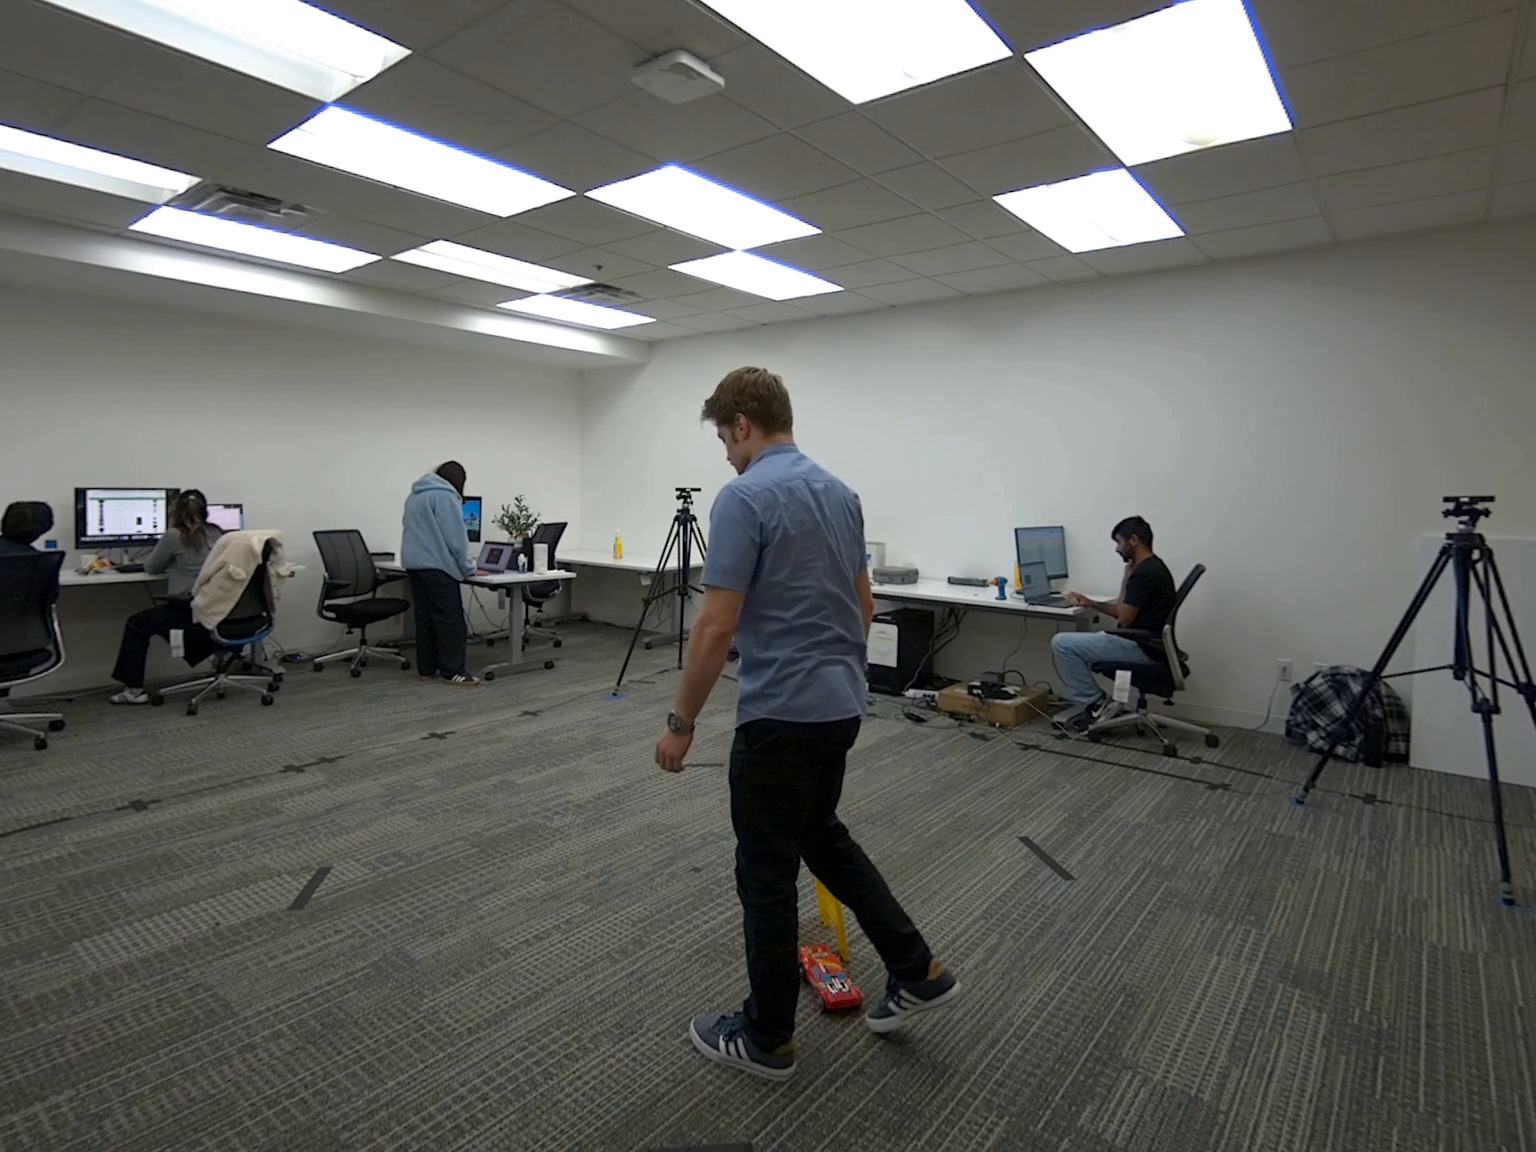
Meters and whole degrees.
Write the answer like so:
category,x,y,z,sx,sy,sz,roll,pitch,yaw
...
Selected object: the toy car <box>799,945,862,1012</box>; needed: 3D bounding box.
category,x,y,z,sx,sy,sz,roll,pitch,yaw
toy car,0.161,1.118,2.372,0.128,0.082,0.262,-2,16,-15
